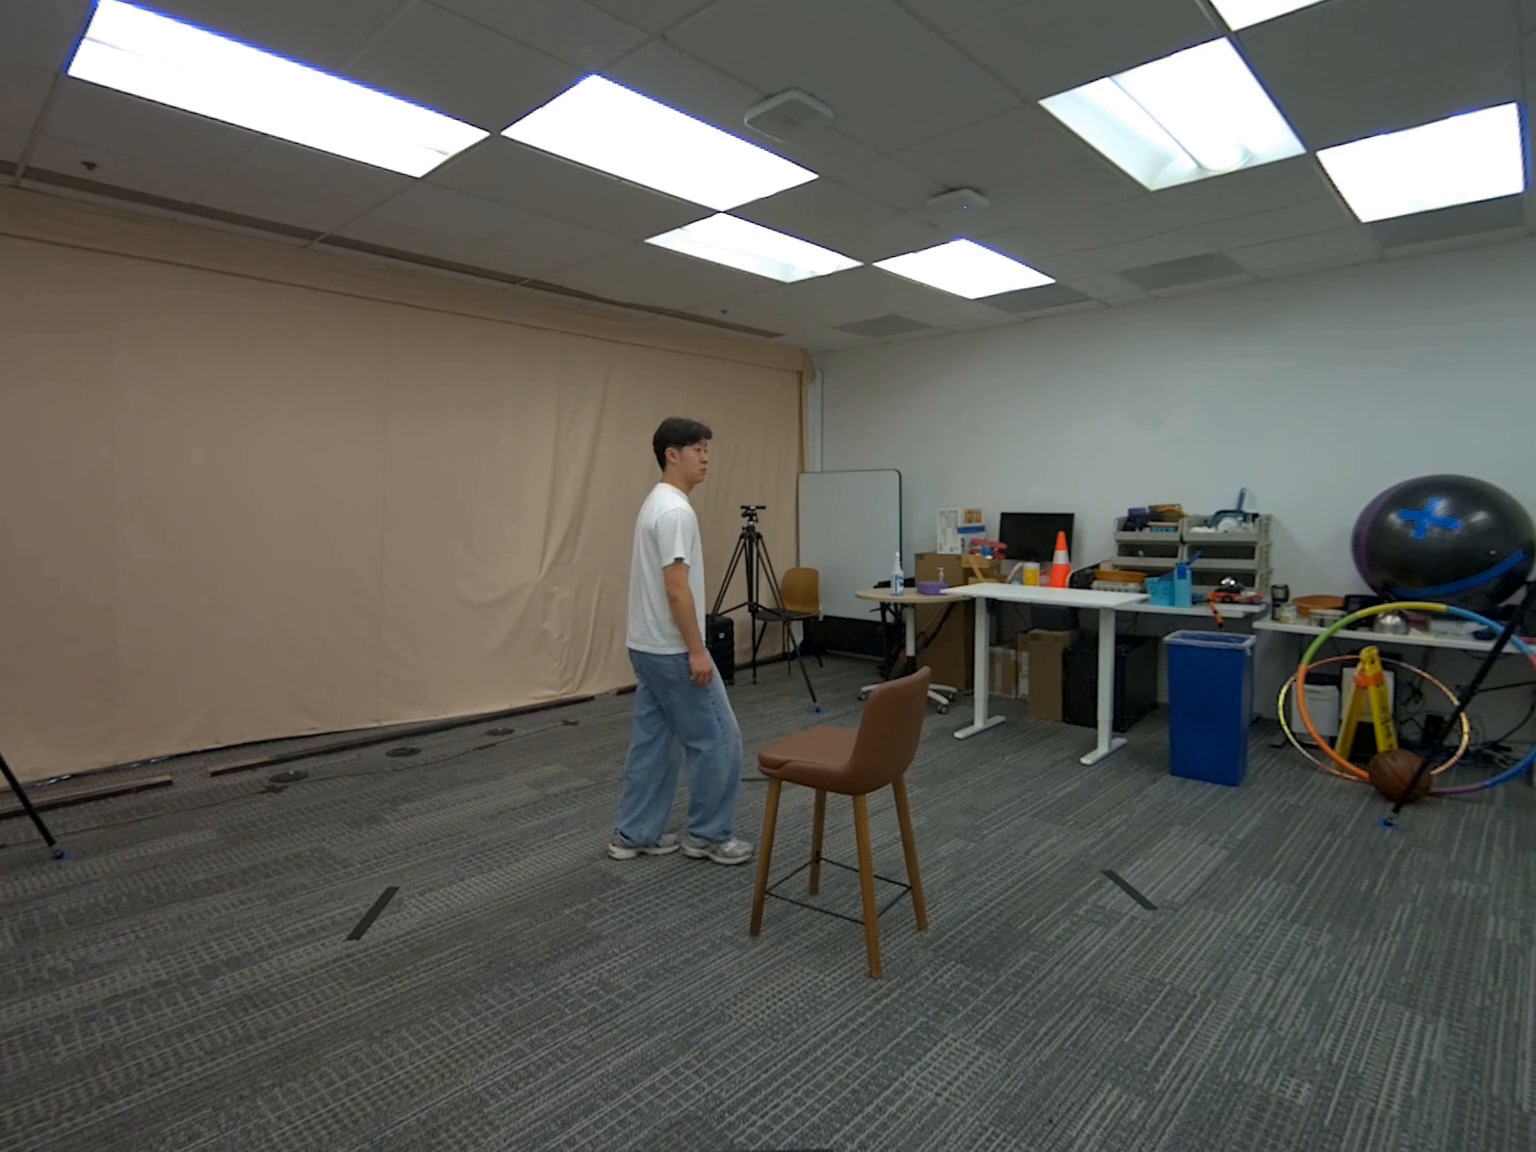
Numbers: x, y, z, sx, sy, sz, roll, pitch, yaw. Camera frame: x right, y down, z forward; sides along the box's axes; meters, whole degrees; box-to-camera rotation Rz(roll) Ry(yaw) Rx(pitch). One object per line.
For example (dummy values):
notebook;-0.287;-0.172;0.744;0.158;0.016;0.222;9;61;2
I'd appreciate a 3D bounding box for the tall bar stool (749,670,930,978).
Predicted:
tall bar stool;0.245;0.727;2.724;0.483;0.887;0.443;5;6;35
